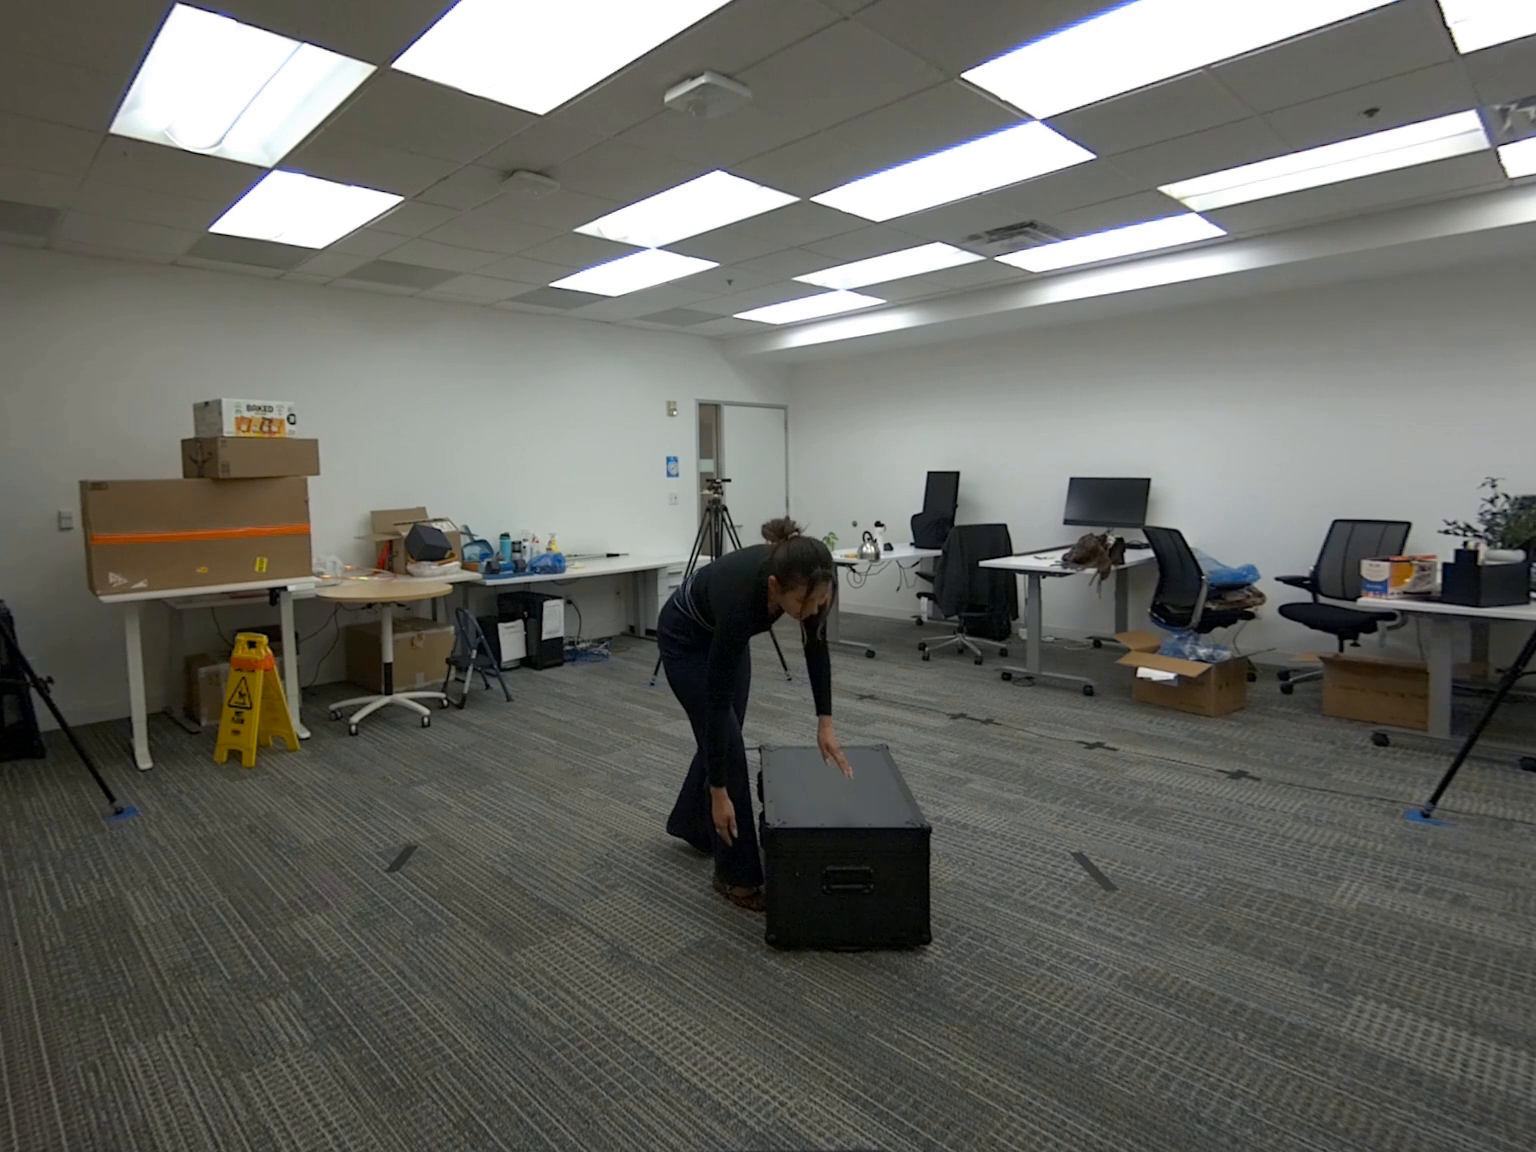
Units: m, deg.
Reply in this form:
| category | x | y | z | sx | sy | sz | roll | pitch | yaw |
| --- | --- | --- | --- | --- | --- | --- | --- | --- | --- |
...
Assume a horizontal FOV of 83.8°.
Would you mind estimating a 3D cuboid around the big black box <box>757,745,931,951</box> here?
| category | x | y | z | sx | sy | sz | roll | pitch | yaw |
| --- | --- | --- | --- | --- | --- | --- | --- | --- | --- |
| big black box | 0.235 | 0.867 | 2.919 | 0.521 | 0.394 | 0.866 | -1 | 6 | -2 |
